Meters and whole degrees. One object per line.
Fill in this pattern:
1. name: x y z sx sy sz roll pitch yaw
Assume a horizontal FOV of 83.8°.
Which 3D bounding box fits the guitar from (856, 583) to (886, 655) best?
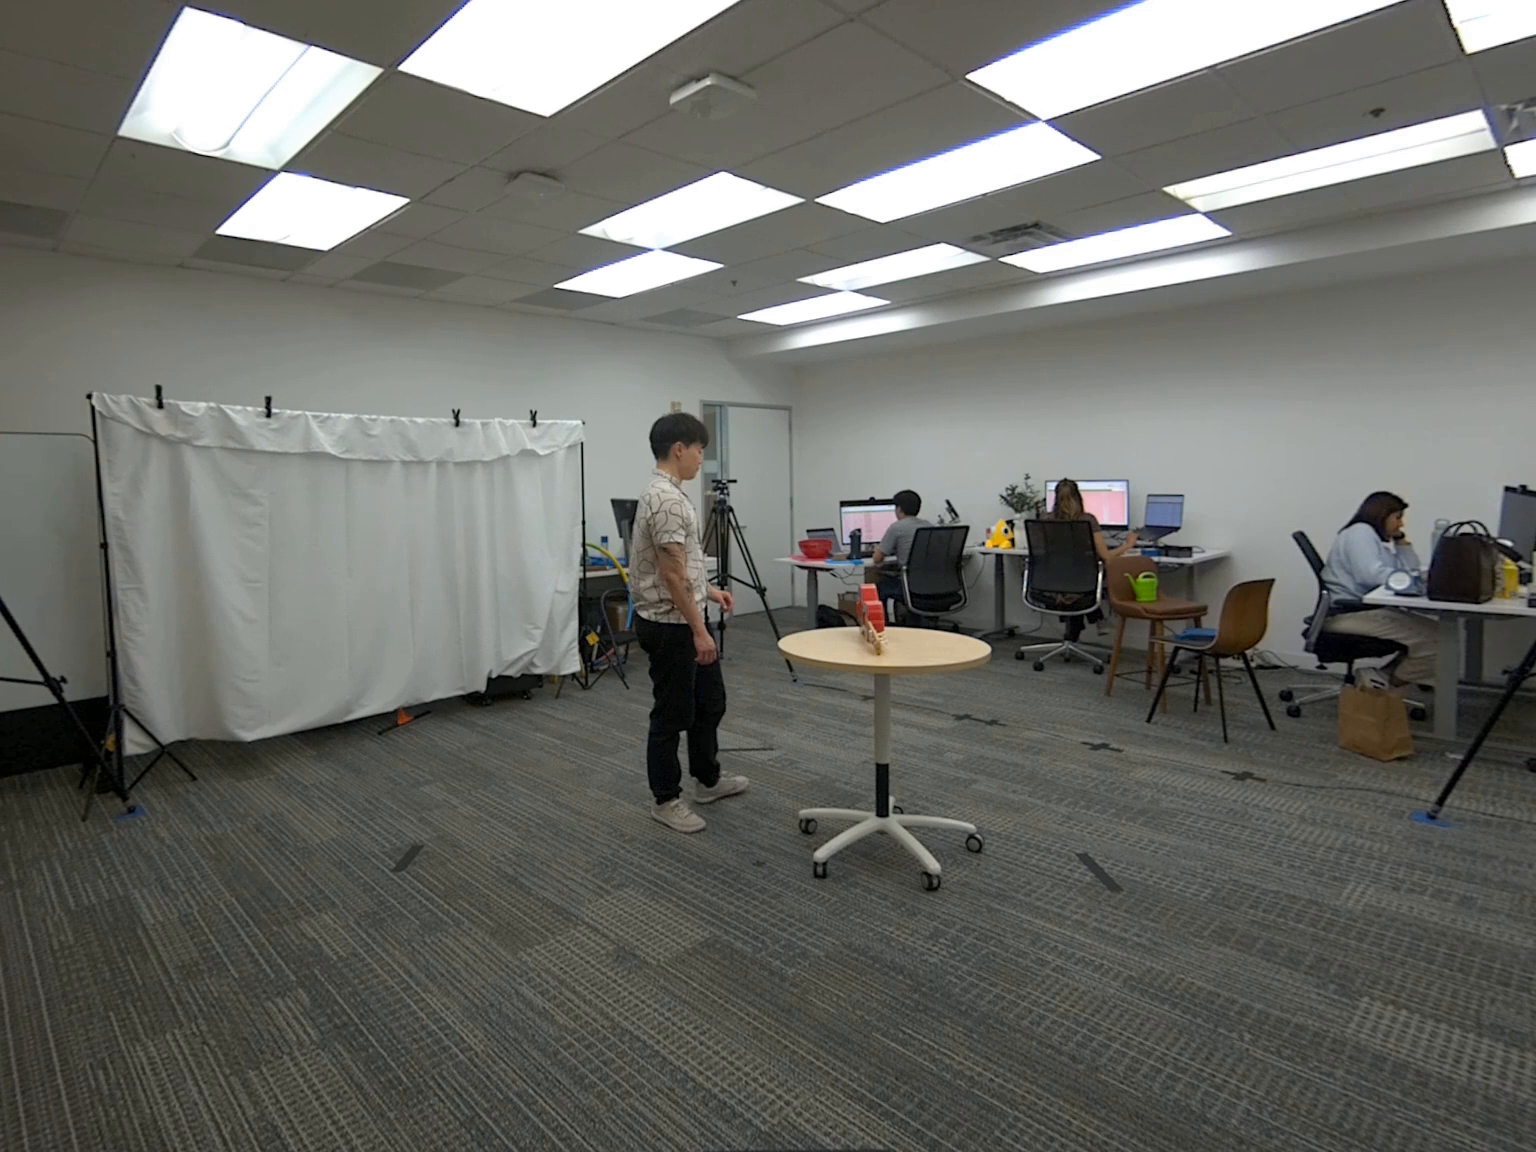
1. guitar: 0.391 0.206 3.185 0.071 0.189 0.507 0 24 -1
